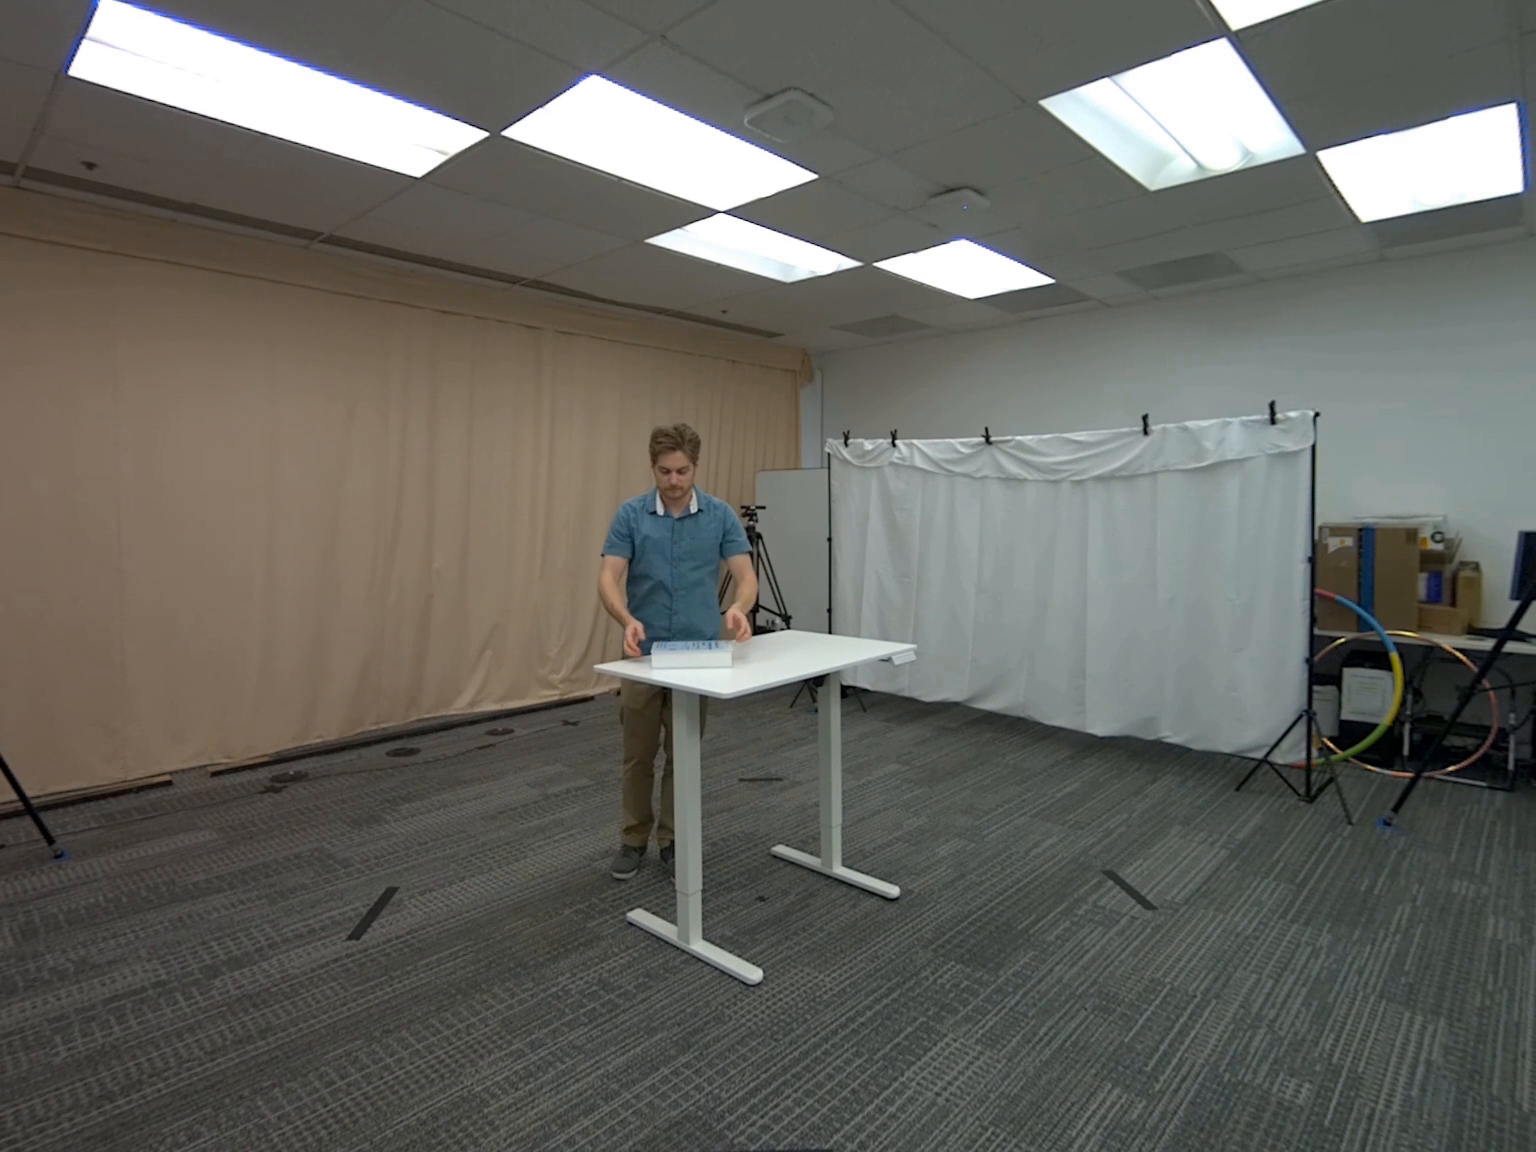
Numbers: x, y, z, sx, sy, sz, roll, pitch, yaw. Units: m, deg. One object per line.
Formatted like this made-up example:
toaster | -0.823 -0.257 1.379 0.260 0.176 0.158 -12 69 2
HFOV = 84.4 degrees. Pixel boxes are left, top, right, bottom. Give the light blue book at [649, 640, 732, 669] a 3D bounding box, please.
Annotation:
light blue book | -0.250 0.255 2.743 0.261 0.059 0.192 0 5 -2
